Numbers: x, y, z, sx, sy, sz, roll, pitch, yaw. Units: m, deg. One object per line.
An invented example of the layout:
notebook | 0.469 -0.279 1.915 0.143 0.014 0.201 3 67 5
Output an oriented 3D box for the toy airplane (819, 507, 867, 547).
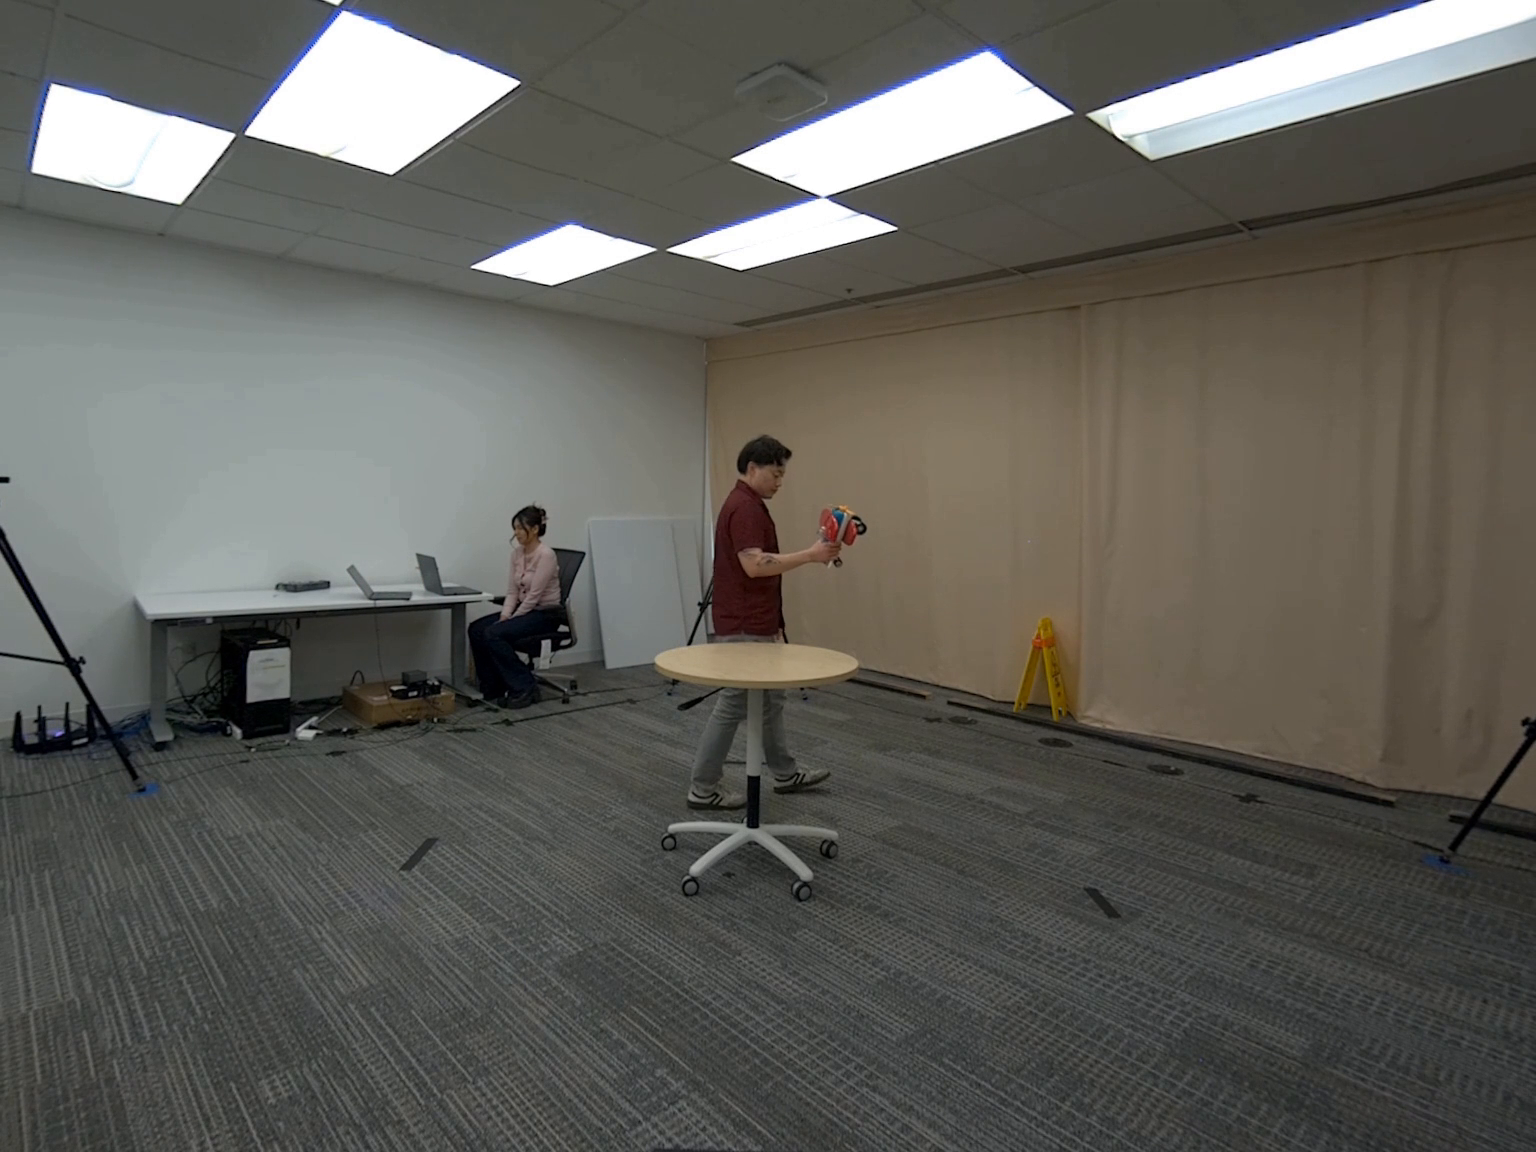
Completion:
toy airplane | 0.290 -0.160 3.478 0.154 0.260 0.254 29 -14 -18
